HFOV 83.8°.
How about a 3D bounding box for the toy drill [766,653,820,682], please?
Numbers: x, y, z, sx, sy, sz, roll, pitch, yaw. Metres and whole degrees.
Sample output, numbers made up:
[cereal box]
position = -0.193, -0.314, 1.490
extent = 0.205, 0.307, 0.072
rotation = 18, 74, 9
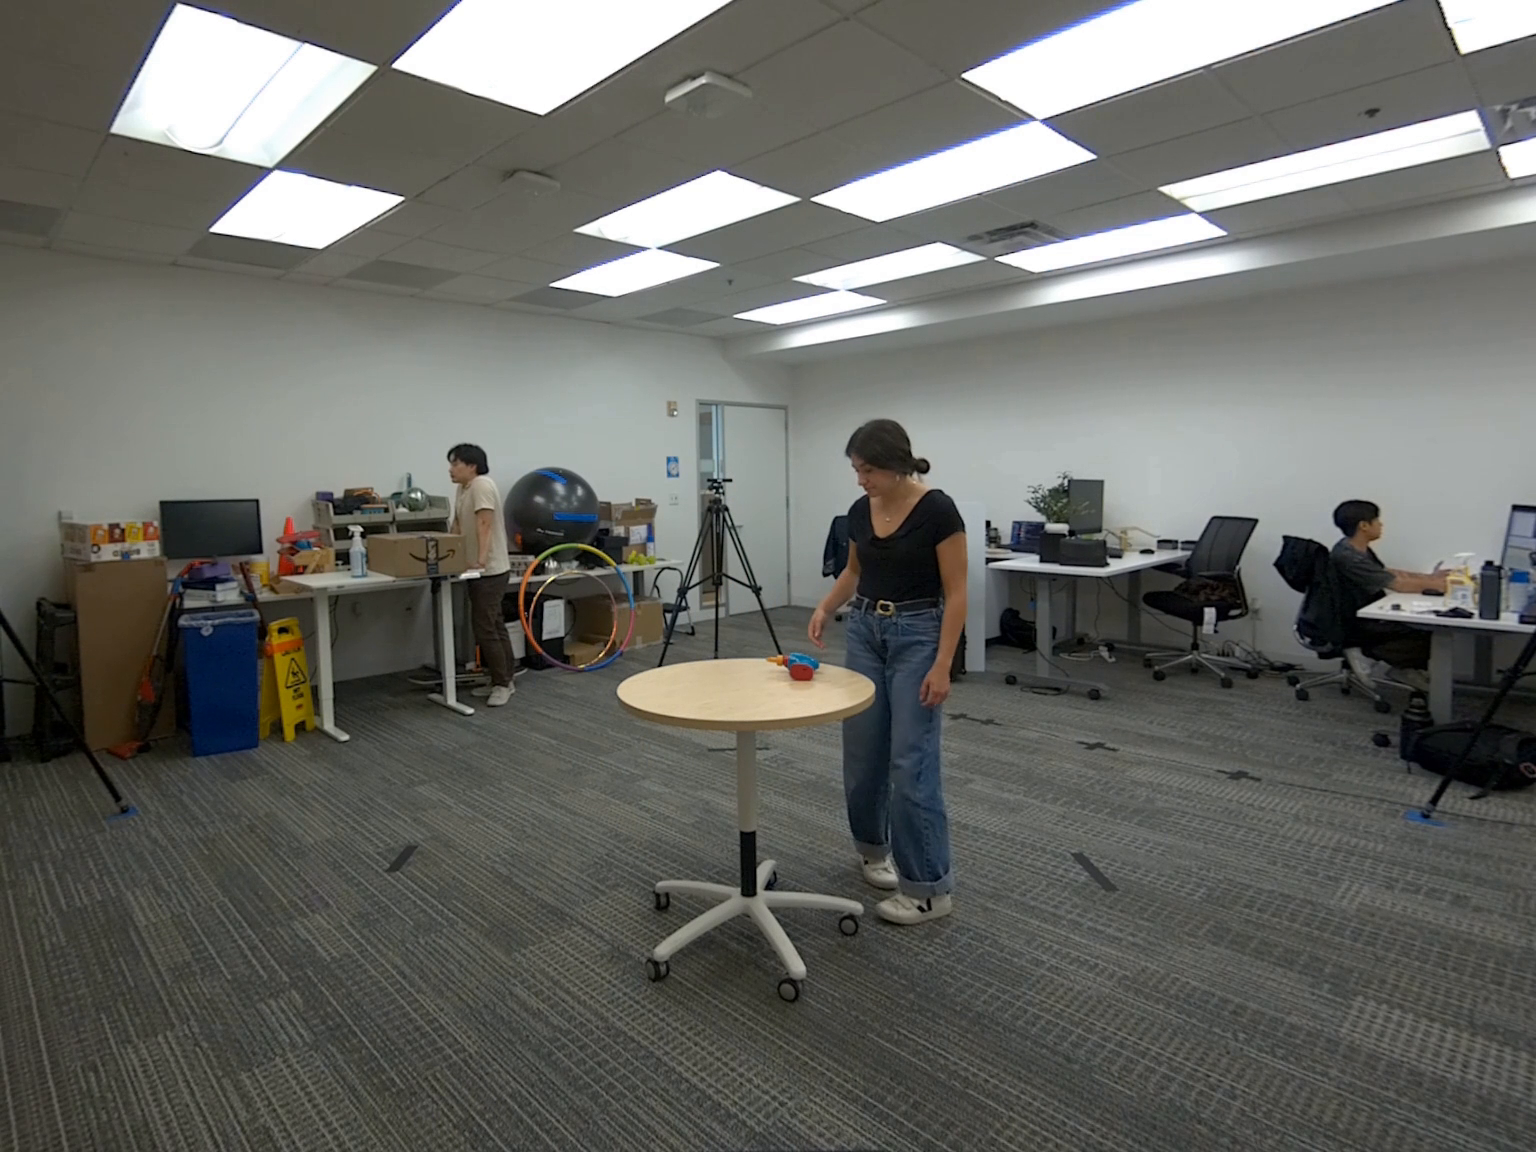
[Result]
[toy drill]
position = 0.076, 0.277, 2.682
extent = 0.171, 0.061, 0.145
rotation = 7, 8, 8
